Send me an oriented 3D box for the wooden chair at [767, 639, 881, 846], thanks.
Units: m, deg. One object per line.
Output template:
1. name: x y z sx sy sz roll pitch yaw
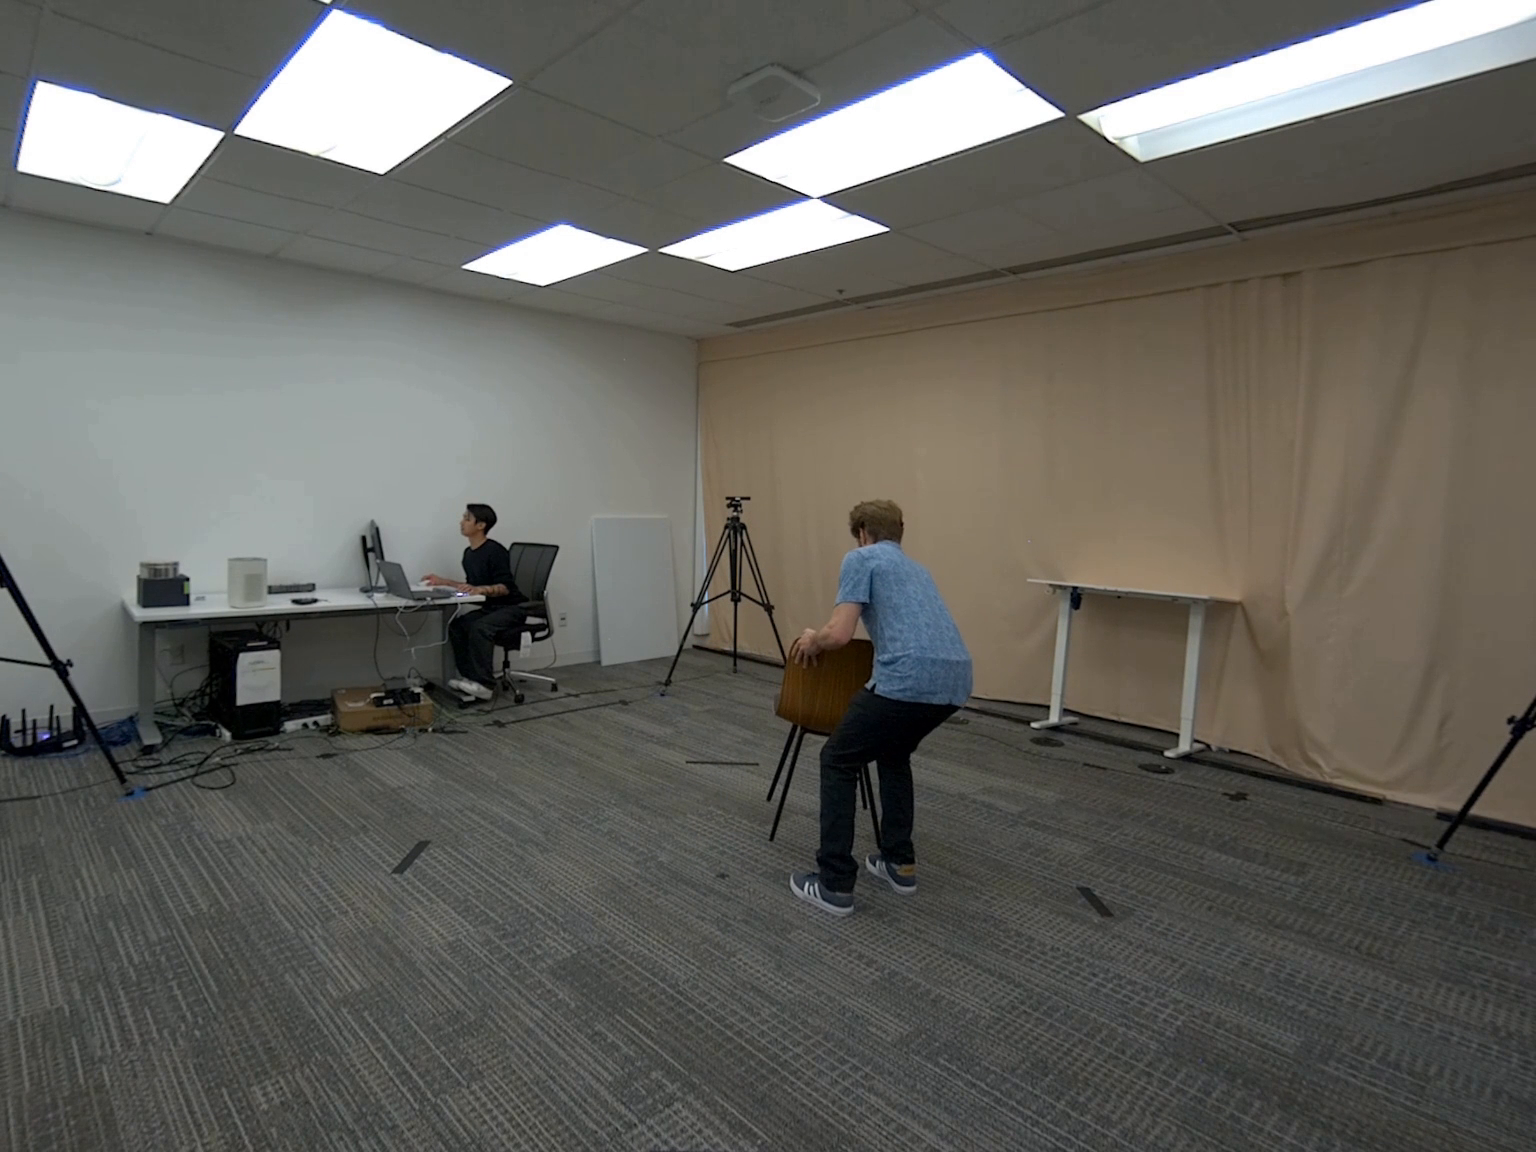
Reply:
1. wooden chair: 0.242 0.616 3.525 0.478 0.873 0.526 3 8 0
